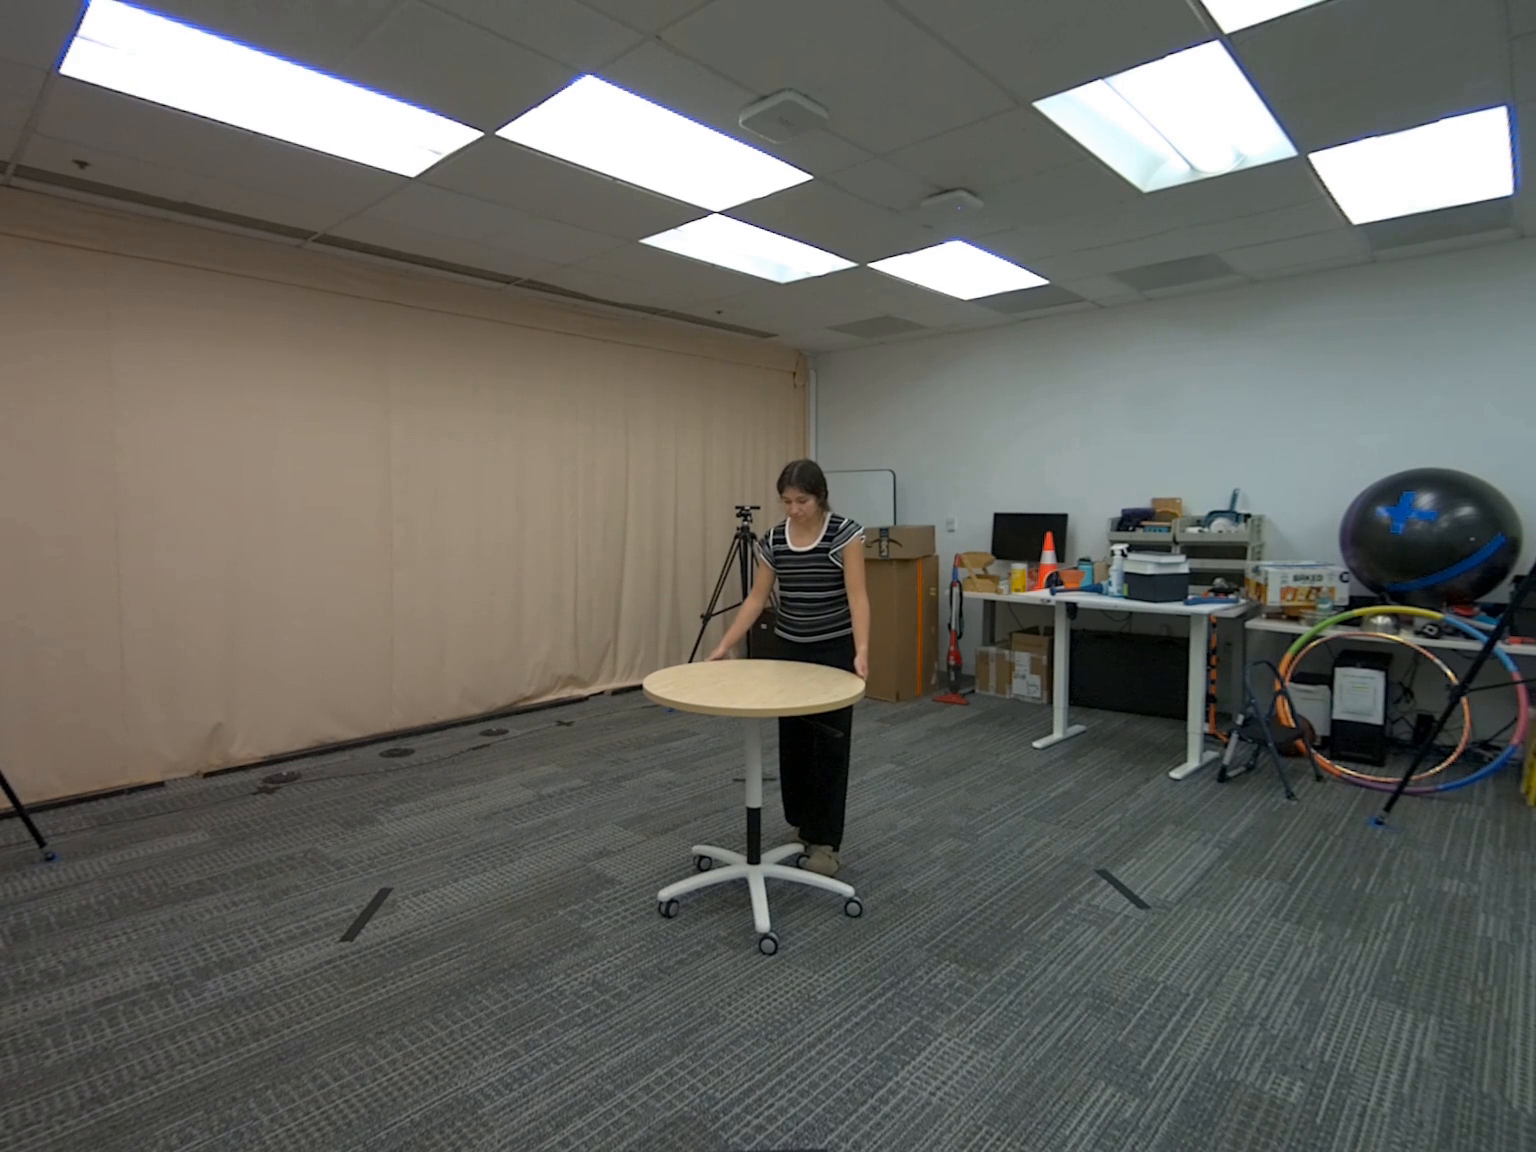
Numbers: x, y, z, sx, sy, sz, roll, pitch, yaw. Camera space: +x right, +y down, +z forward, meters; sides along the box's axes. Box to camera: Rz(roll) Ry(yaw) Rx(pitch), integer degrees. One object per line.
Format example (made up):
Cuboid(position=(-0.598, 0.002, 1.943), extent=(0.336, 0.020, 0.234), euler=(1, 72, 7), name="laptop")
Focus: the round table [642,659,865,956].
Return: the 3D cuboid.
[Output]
Cuboid(position=(-0.052, 0.756, 2.942), extent=(0.763, 0.792, 0.767), euler=(0, 4, -2), name="round table")
